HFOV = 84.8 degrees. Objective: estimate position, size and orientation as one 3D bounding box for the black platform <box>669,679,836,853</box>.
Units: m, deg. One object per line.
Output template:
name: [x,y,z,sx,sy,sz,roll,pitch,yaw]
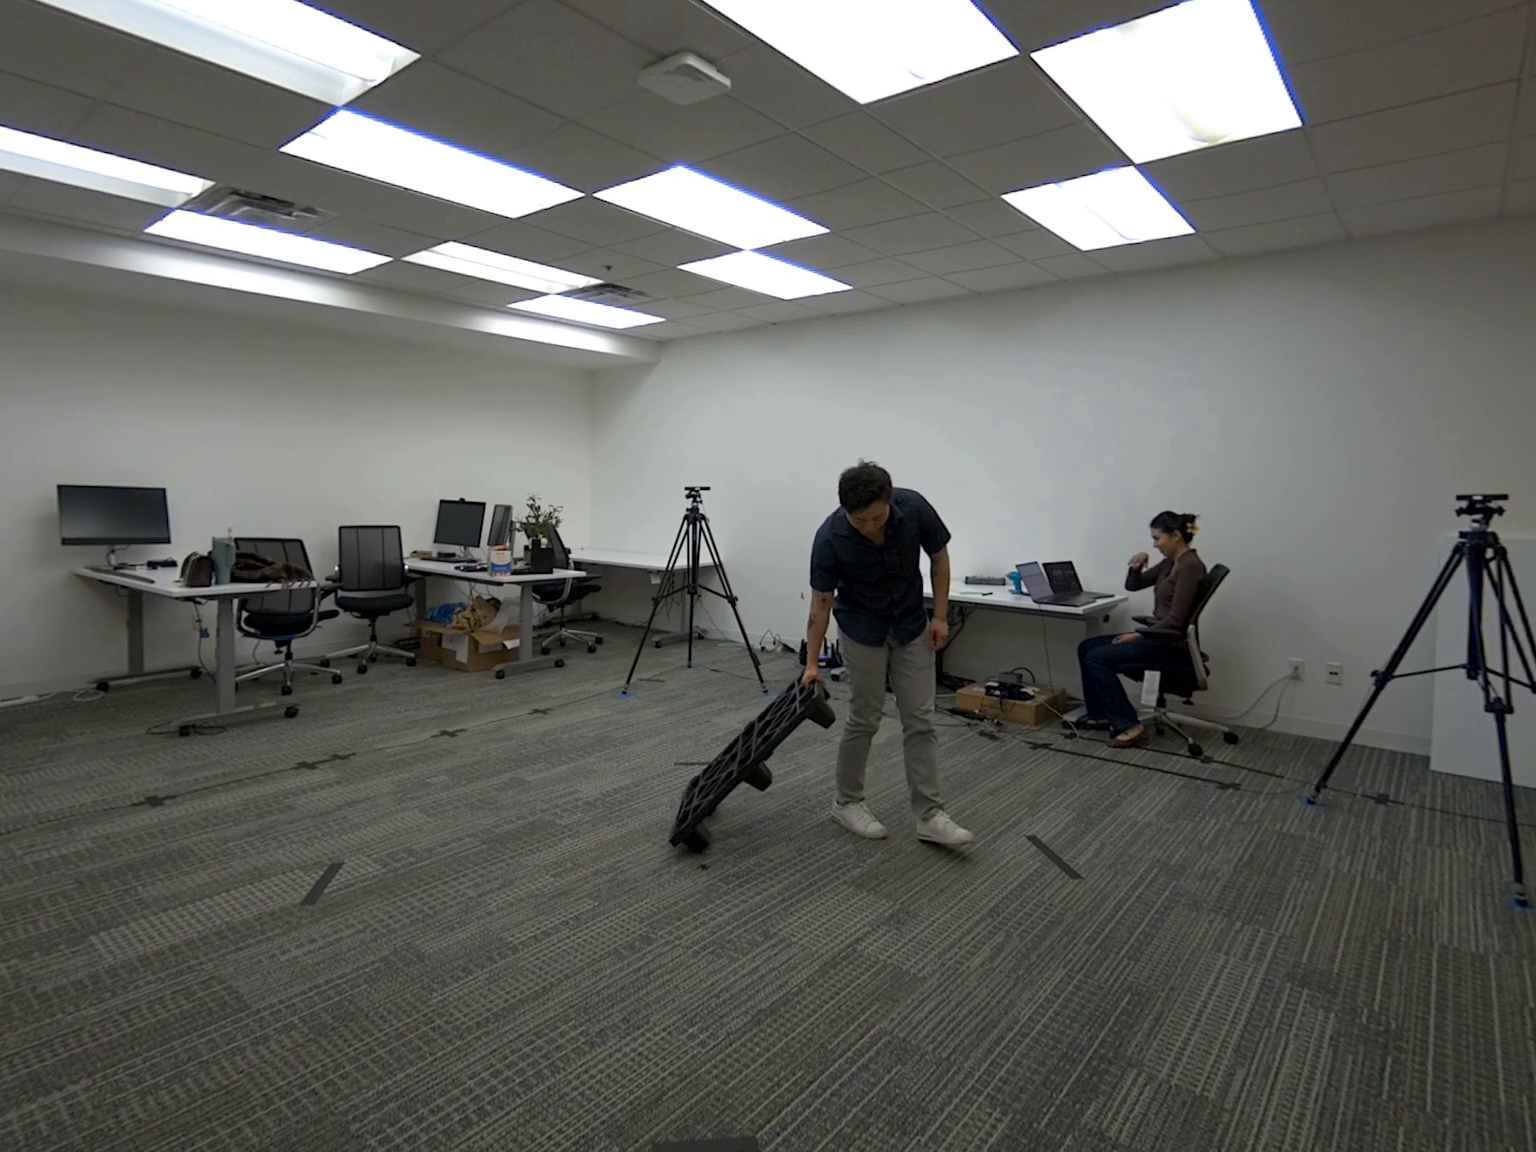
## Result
black platform: [-0.054,0.725,3.435,0.143,0.805,0.606,44,5,-3]
